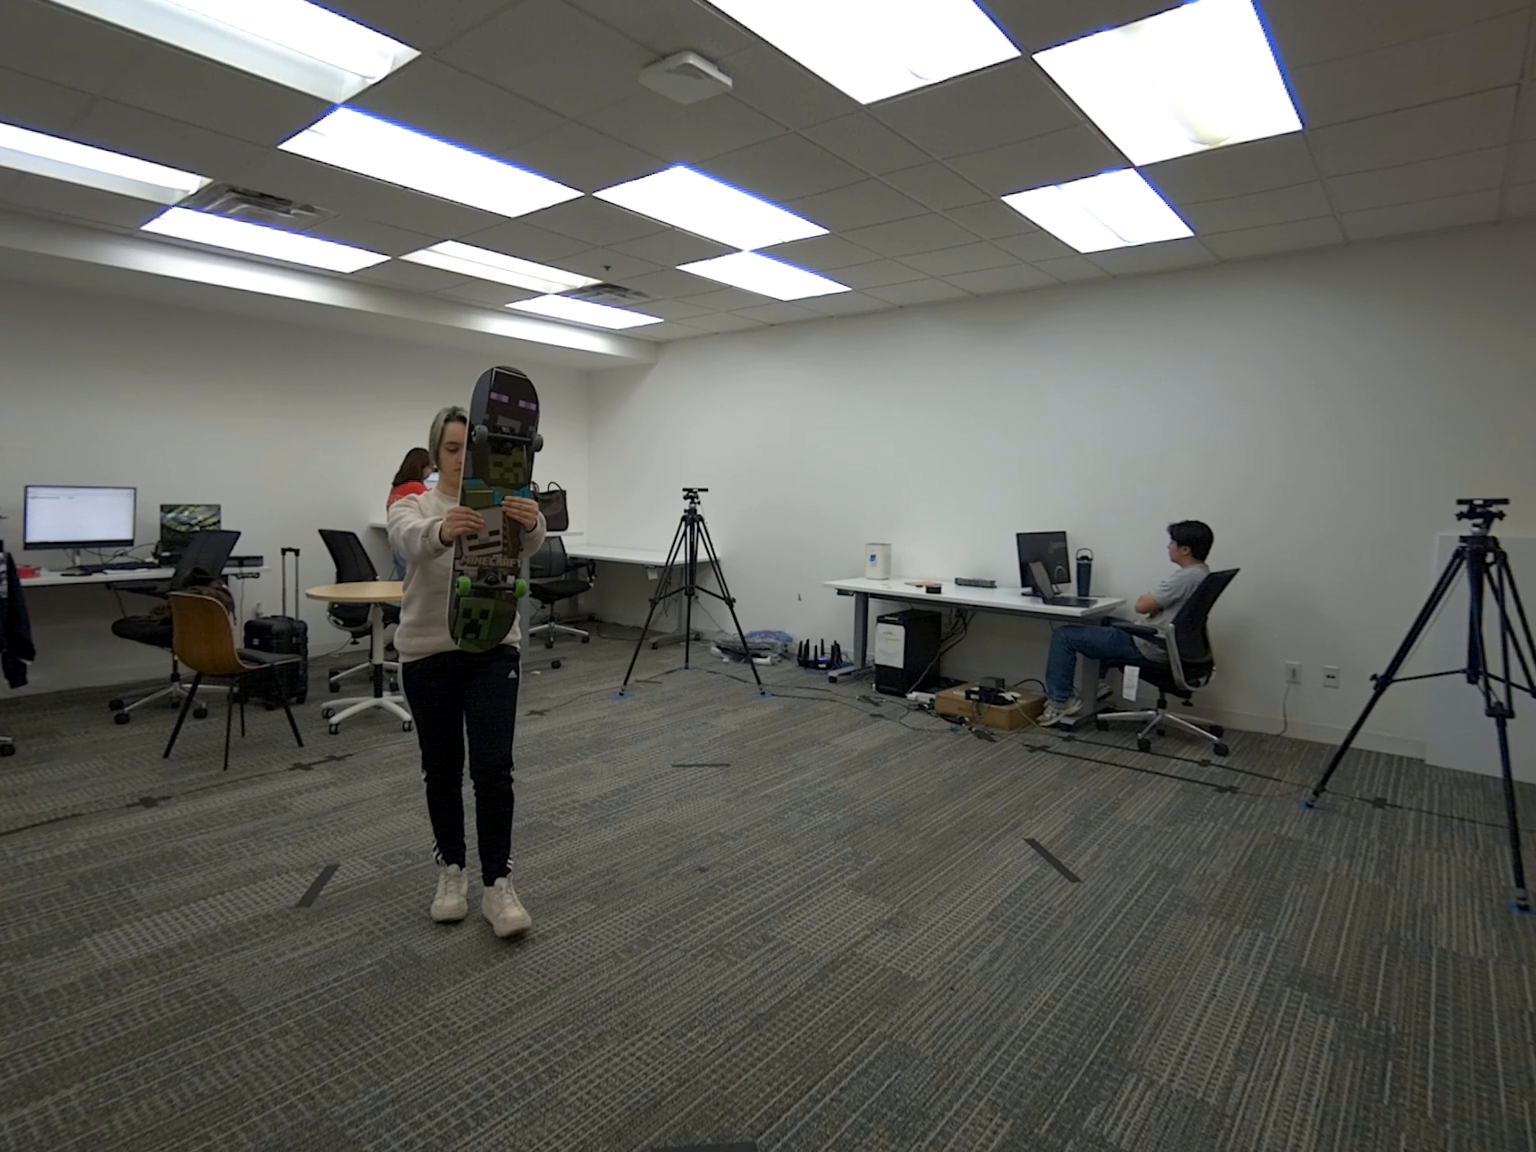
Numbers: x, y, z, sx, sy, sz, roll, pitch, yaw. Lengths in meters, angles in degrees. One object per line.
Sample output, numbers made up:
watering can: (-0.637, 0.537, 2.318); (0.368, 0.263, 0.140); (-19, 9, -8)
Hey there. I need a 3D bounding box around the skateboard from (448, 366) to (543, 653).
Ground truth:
skateboard: (-0.744, -0.170, 2.283); (0.187, 0.784, 0.114); (6, 3, -33)
